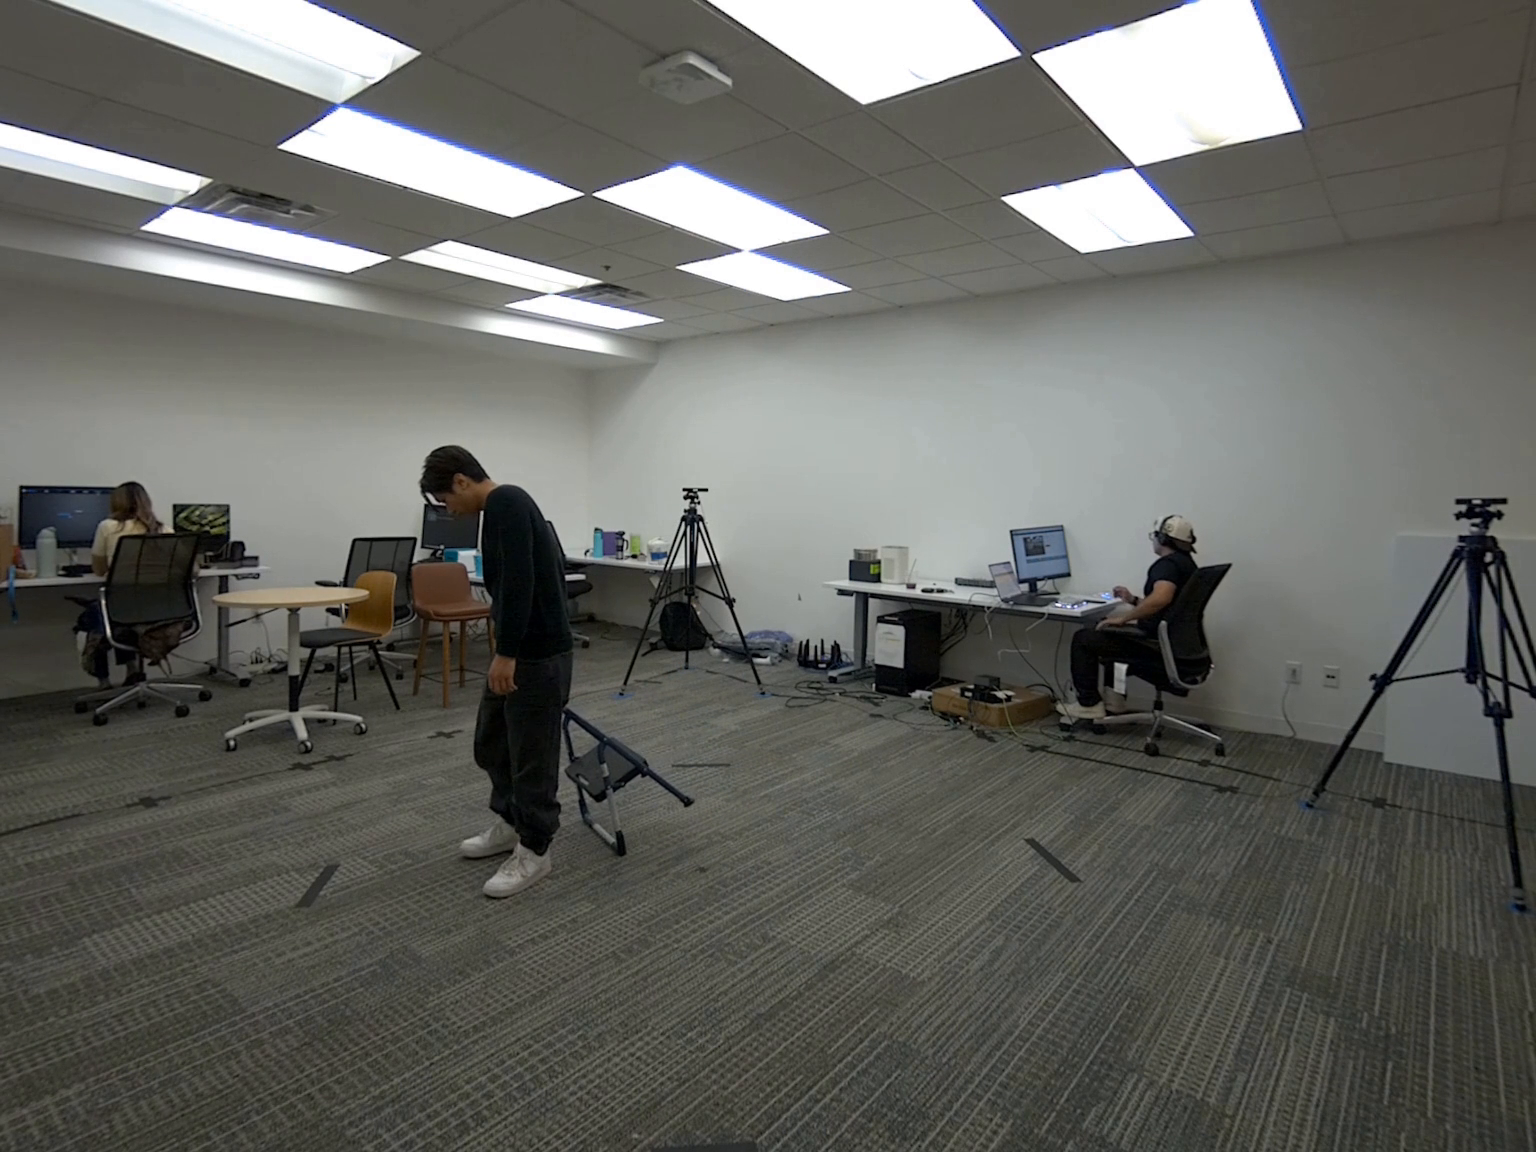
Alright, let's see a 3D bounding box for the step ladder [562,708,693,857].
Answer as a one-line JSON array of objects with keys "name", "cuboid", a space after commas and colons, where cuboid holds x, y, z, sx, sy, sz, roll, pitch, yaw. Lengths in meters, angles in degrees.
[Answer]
[{"name": "step ladder", "cuboid": [-0.660, 0.698, 3.373, 0.346, 0.593, 0.444, -33, 19, -26]}]
